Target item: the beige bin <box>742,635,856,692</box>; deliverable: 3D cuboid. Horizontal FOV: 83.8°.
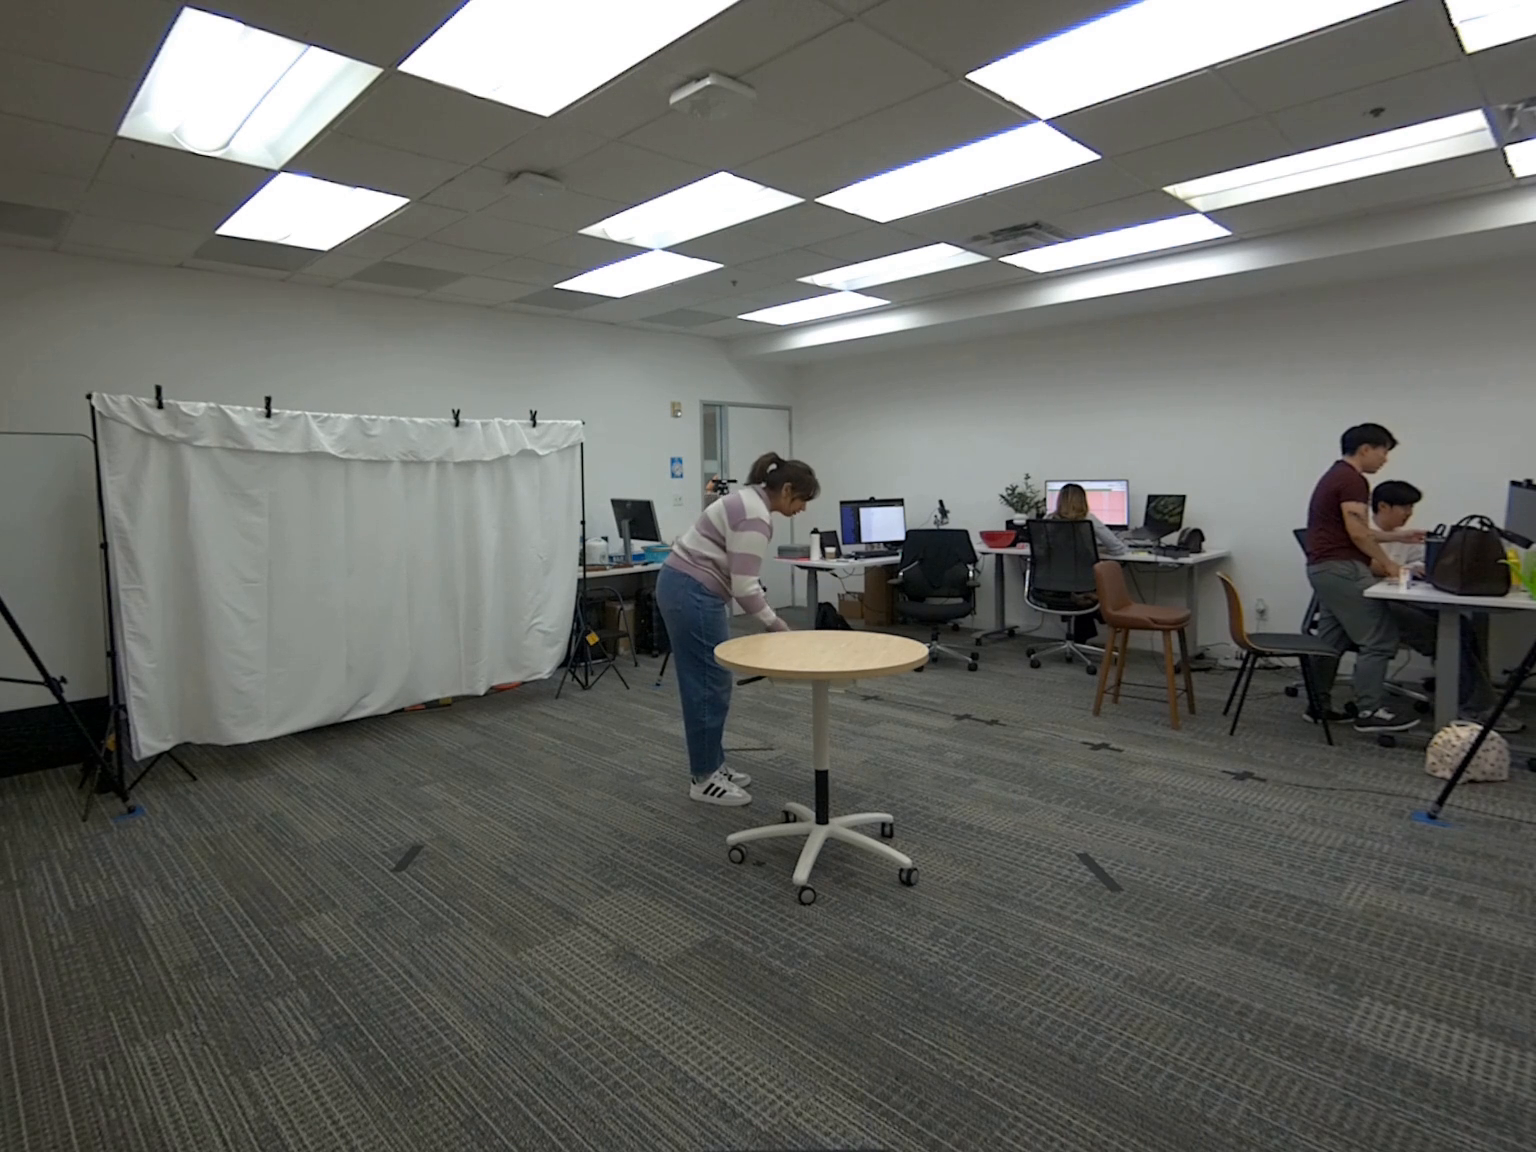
[{"bbox_3d":[0.155,0.388,3.818,0.373,0.189,0.427,4,2,-11],"label":"beige bin"}]
